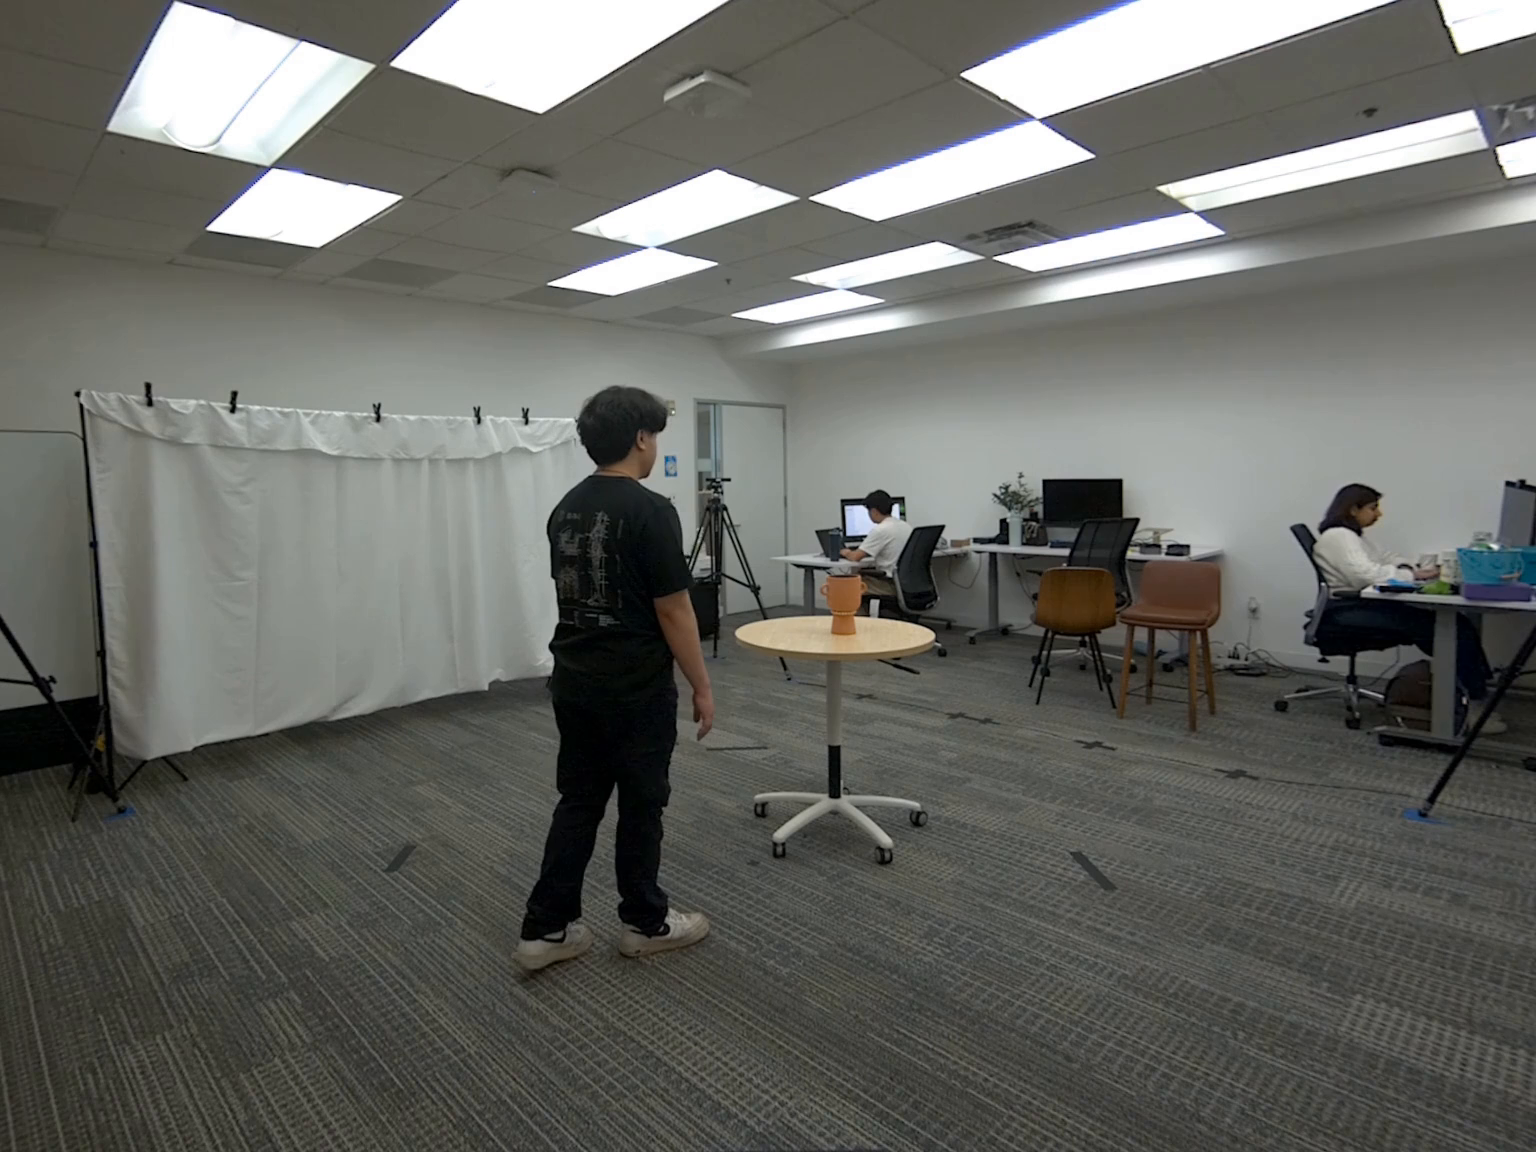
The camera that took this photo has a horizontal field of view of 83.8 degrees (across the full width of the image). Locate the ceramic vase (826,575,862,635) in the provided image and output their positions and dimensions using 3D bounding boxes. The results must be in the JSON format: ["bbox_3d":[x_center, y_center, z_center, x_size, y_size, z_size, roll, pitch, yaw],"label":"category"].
[{"bbox_3d":[0.299,0.111,3.308,0.162,0.219,0.133,2,5,18],"label":"ceramic vase"}]
